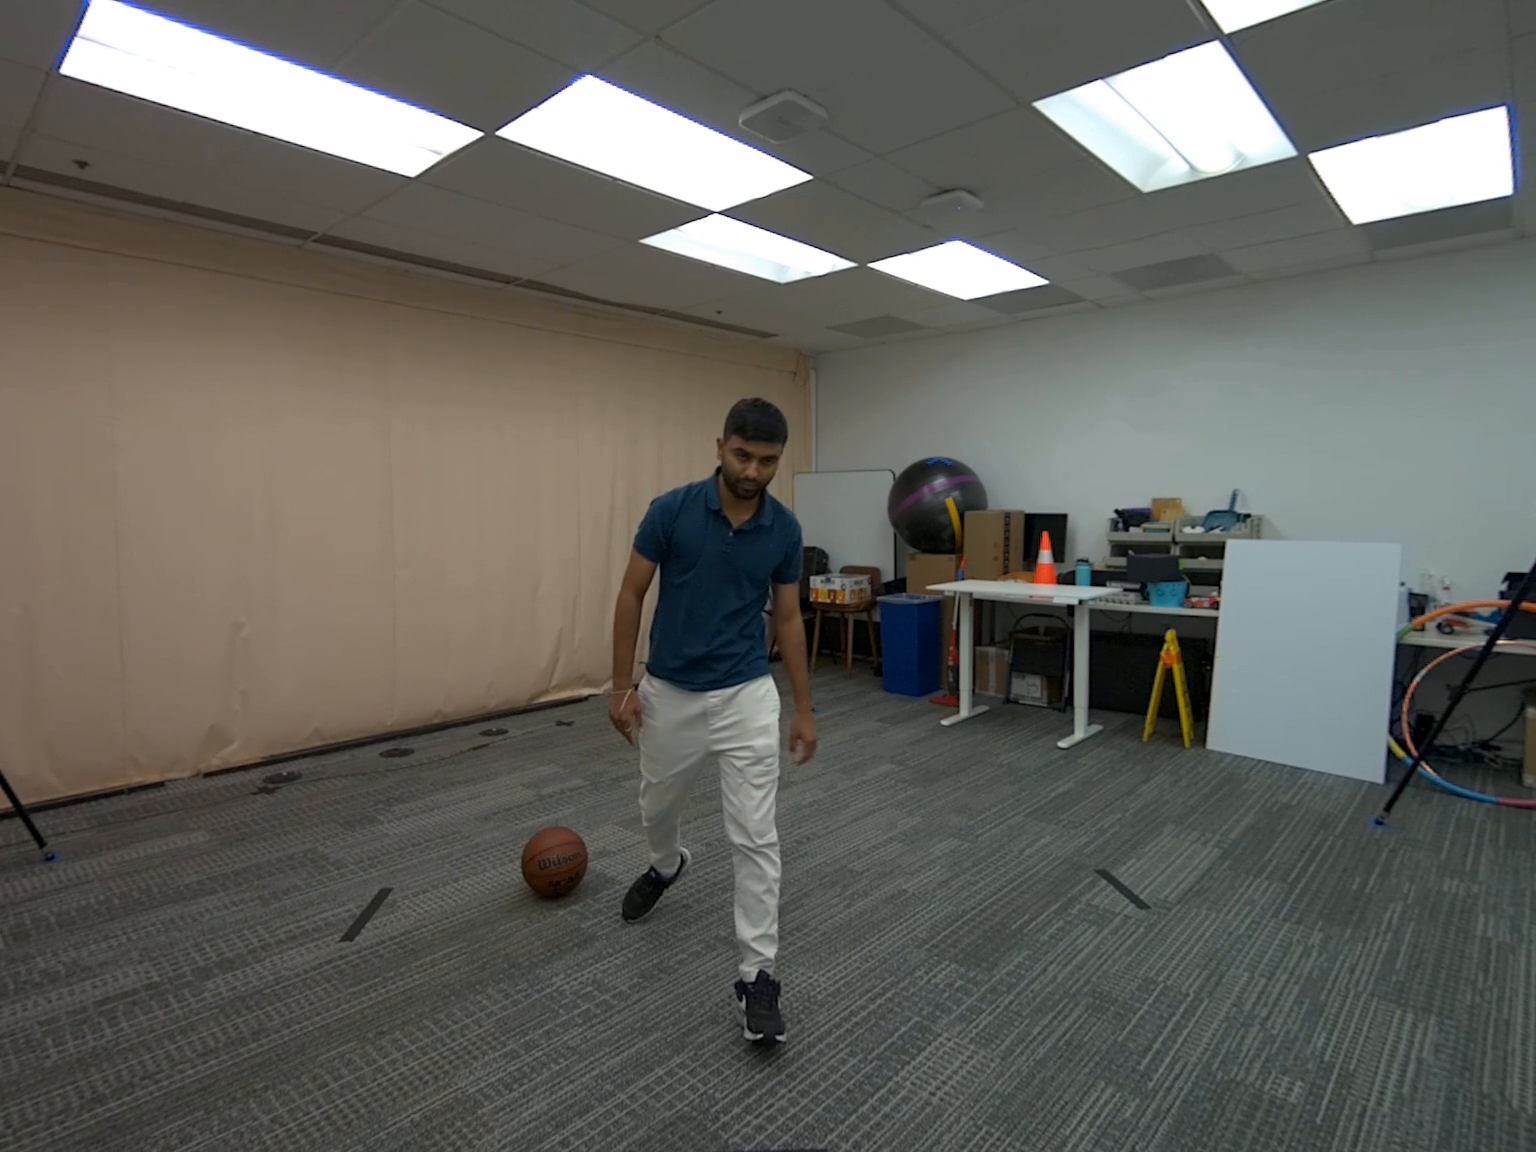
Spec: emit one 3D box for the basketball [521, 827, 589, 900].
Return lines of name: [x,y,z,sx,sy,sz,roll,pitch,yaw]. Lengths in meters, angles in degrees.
basketball: [-0.766,1.026,3.035,0.236,0.235,0.237,0,4,-2]
